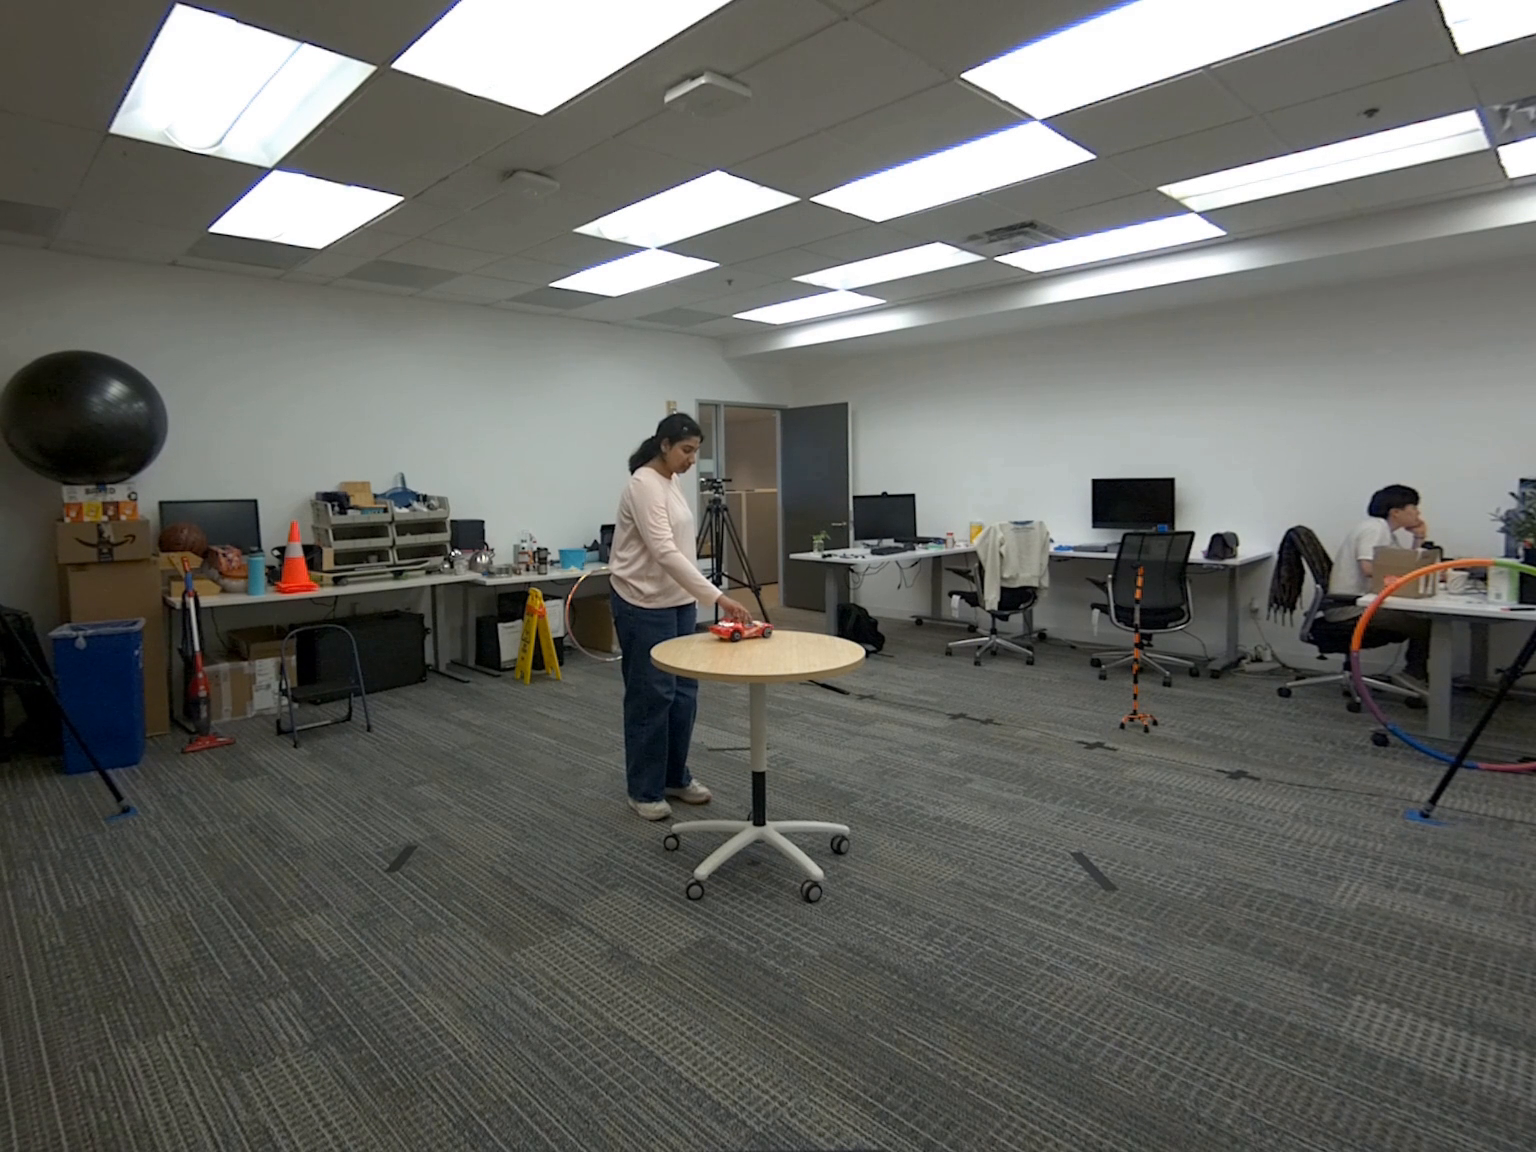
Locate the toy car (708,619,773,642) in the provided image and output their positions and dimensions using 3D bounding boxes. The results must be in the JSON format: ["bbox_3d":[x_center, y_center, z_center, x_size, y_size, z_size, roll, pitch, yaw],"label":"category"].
[{"bbox_3d":[-0.110,0.208,3.274,0.247,0.083,0.134,9,-1,-33],"label":"toy car"}]
